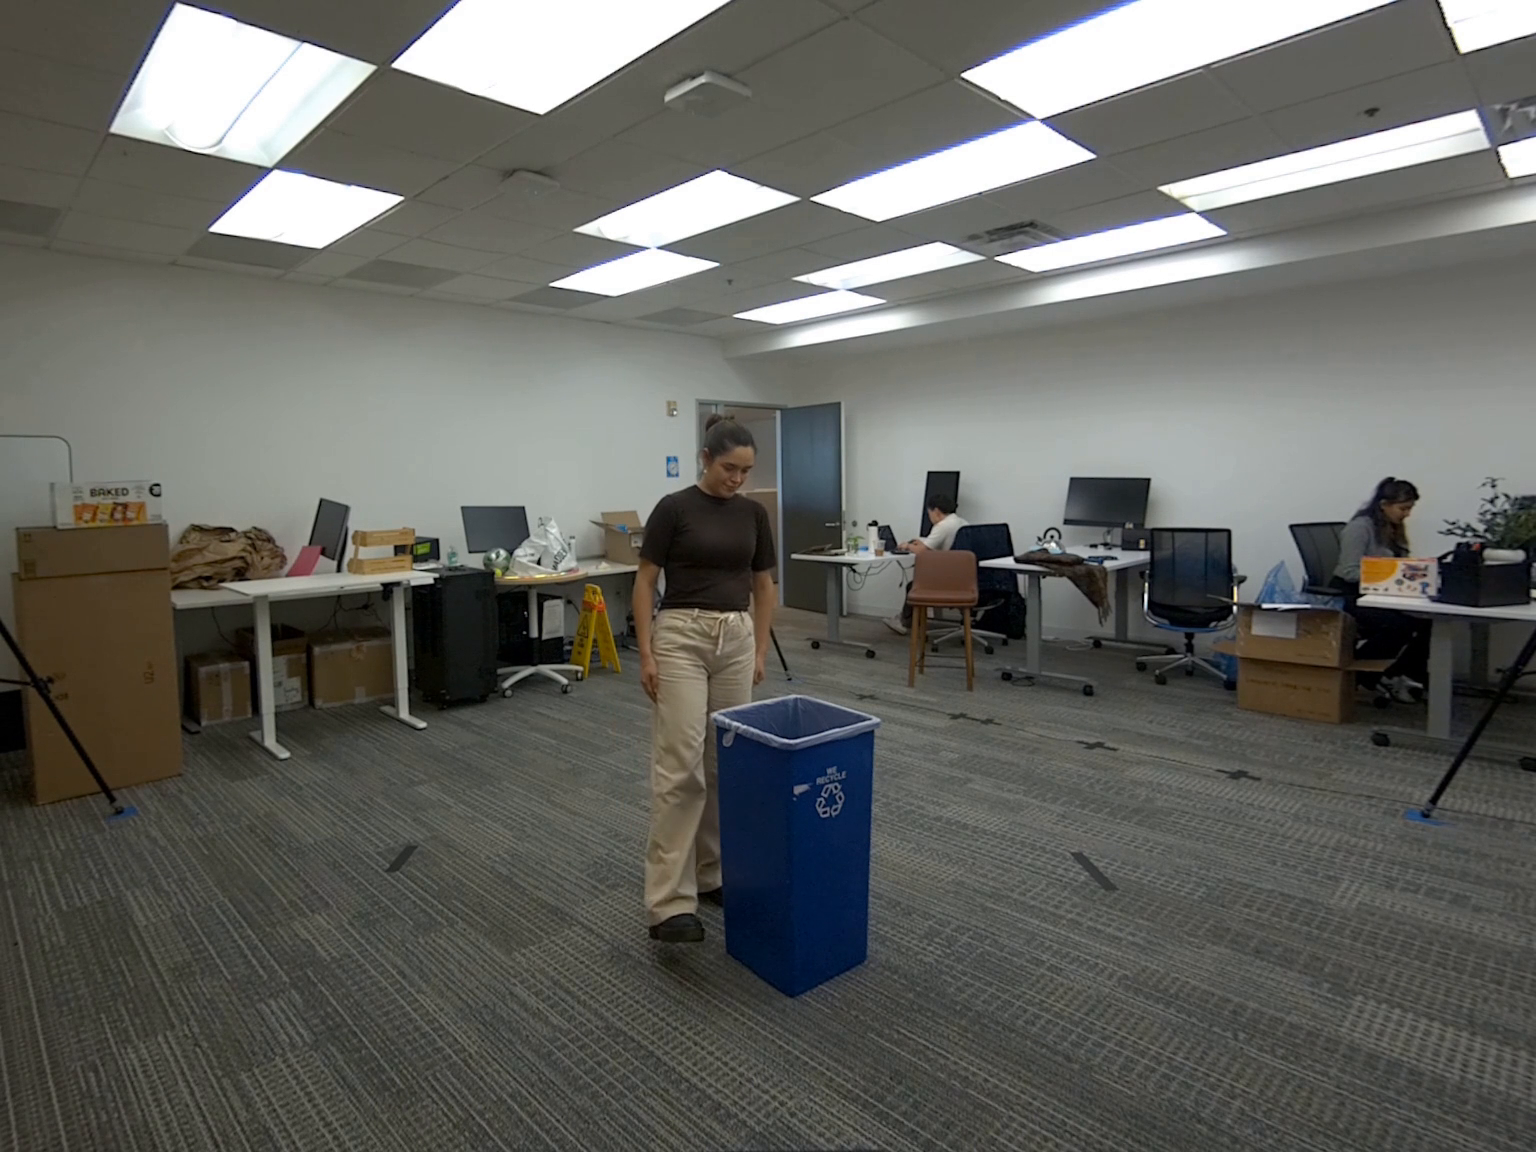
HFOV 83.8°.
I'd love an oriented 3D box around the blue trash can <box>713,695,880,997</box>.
[{"bbox_3d":[0.091,0.757,2.474,0.368,0.711,0.385,-4,5,-40],"label":"blue trash can"}]
